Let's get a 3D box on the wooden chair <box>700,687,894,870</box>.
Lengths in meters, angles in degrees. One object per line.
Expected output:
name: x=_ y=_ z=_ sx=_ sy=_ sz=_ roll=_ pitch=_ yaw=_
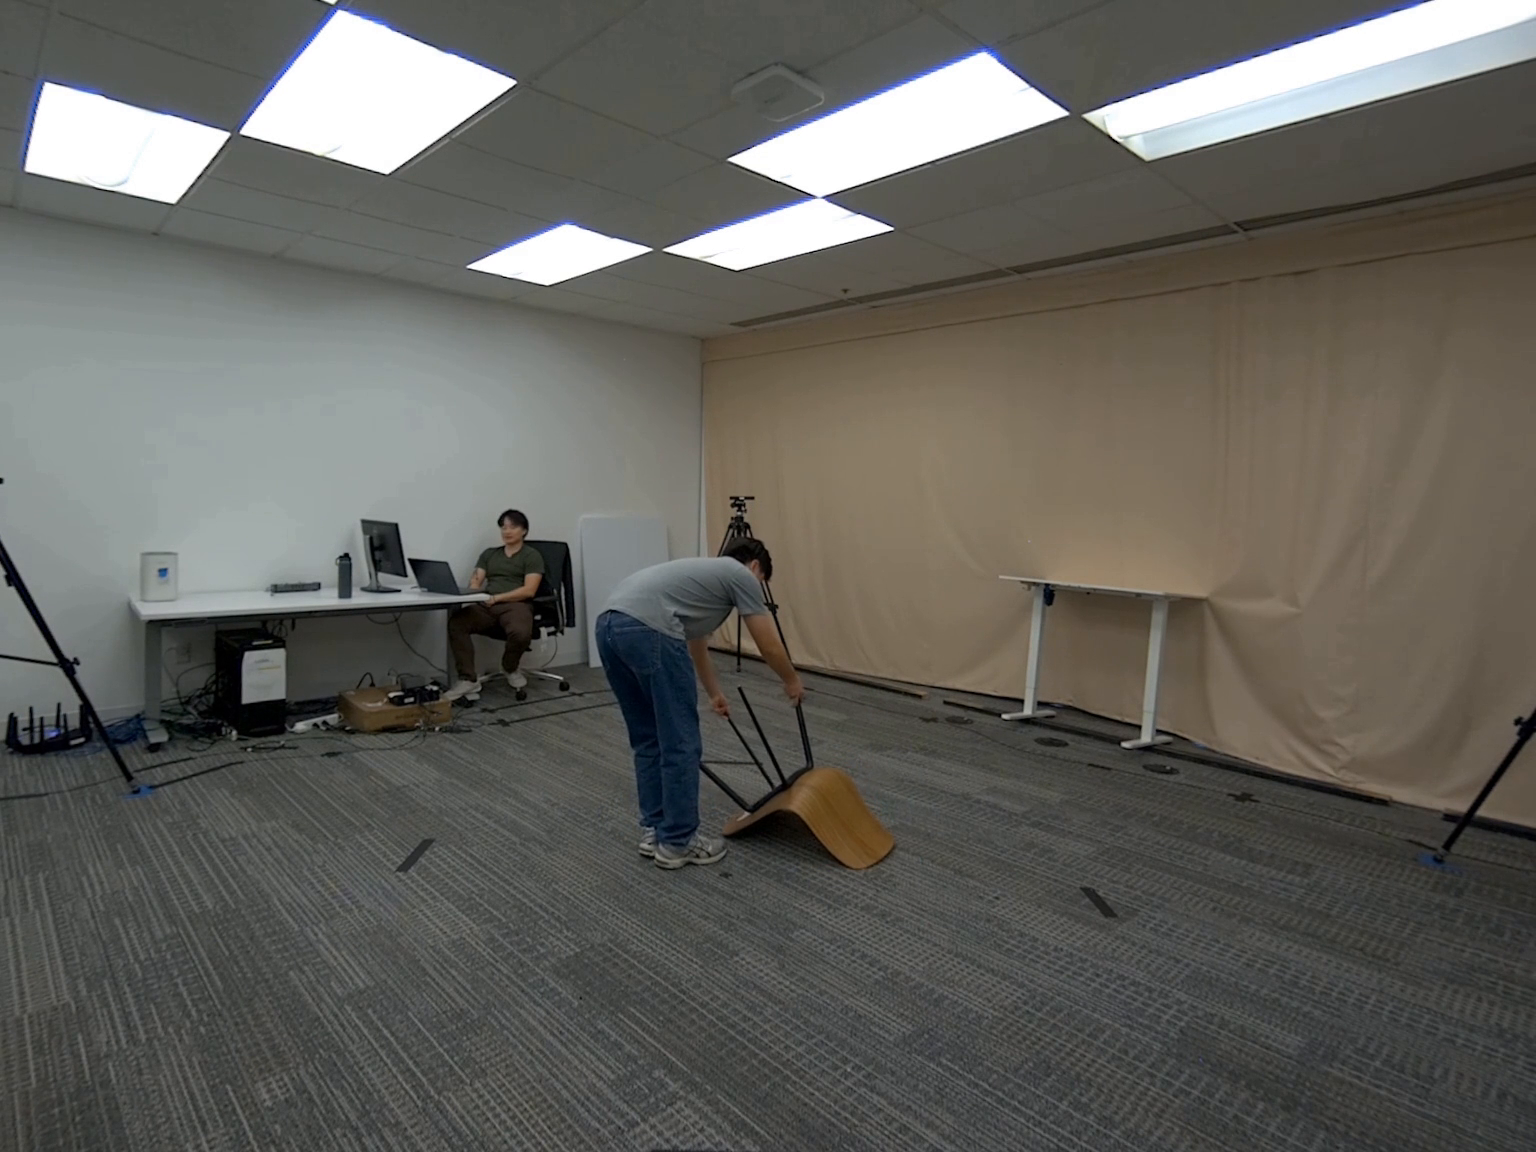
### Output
wooden chair: x=0.044 y=0.894 z=3.534 sx=0.524 sy=0.891 sz=0.470 roll=-43 pitch=-16 yaw=26
